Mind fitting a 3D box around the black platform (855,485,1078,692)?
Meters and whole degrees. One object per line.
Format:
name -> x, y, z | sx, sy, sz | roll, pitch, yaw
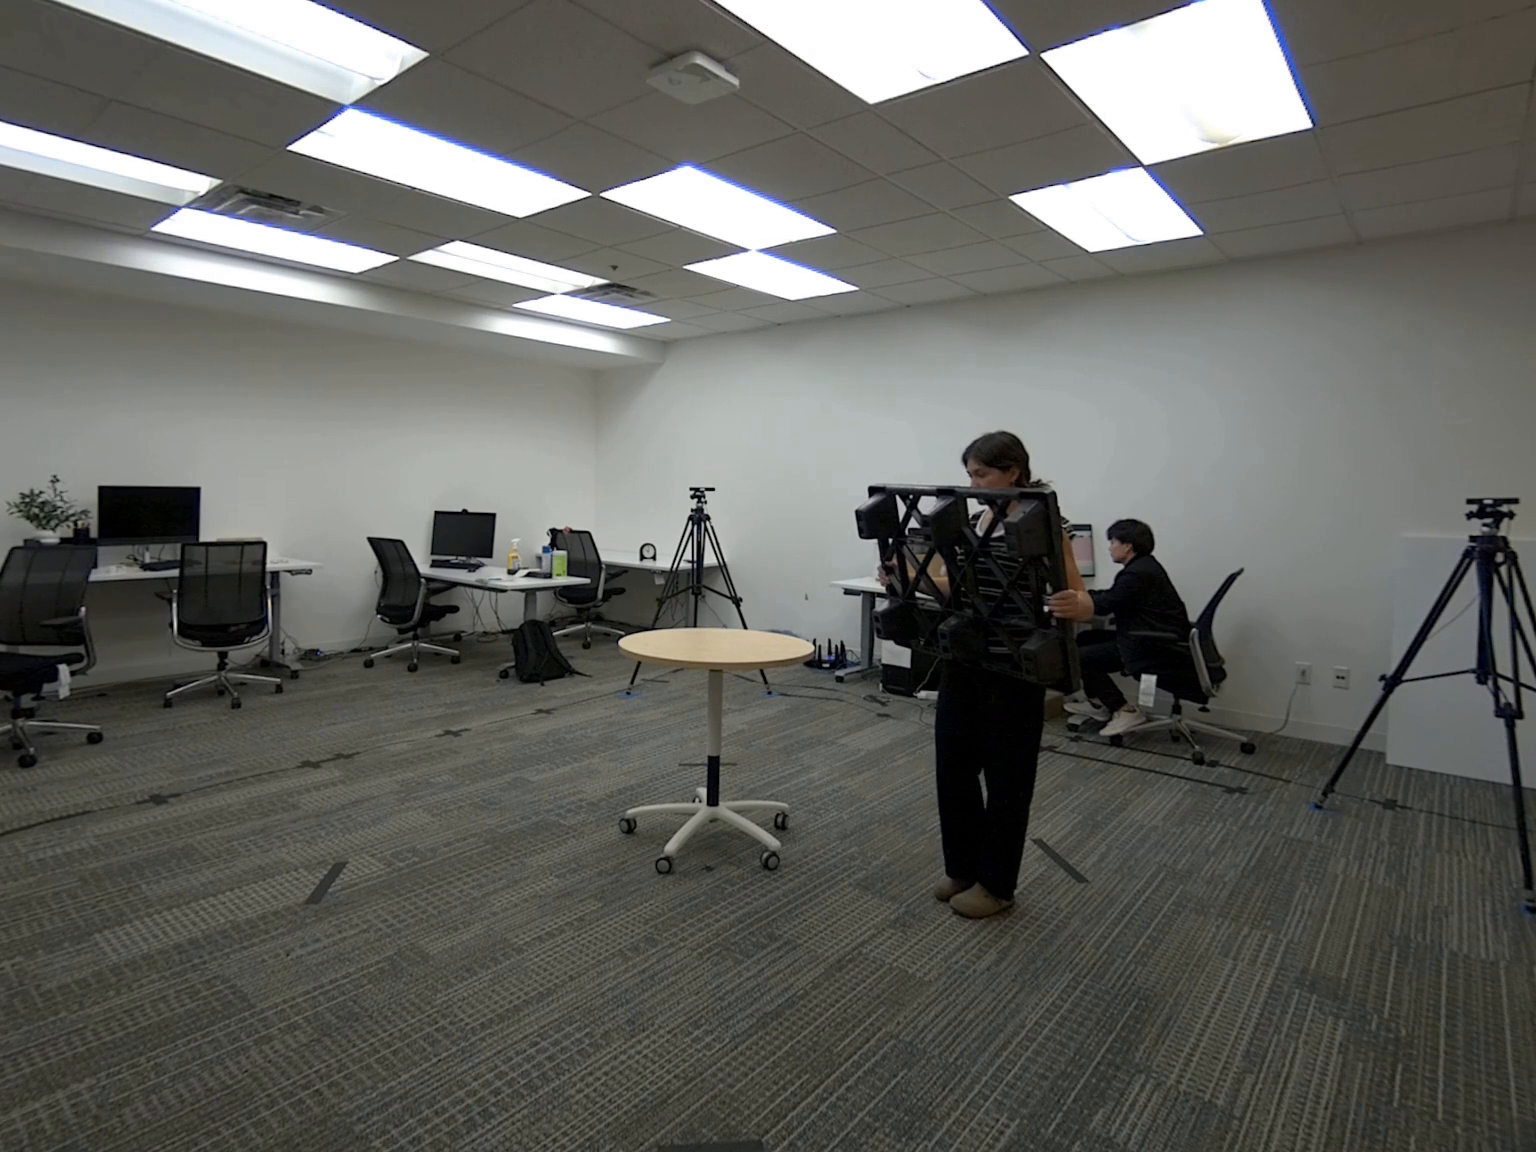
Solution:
black platform -> 0.574, 0.013, 2.707 | 0.141, 0.597, 0.831 | -16, 13, -27
